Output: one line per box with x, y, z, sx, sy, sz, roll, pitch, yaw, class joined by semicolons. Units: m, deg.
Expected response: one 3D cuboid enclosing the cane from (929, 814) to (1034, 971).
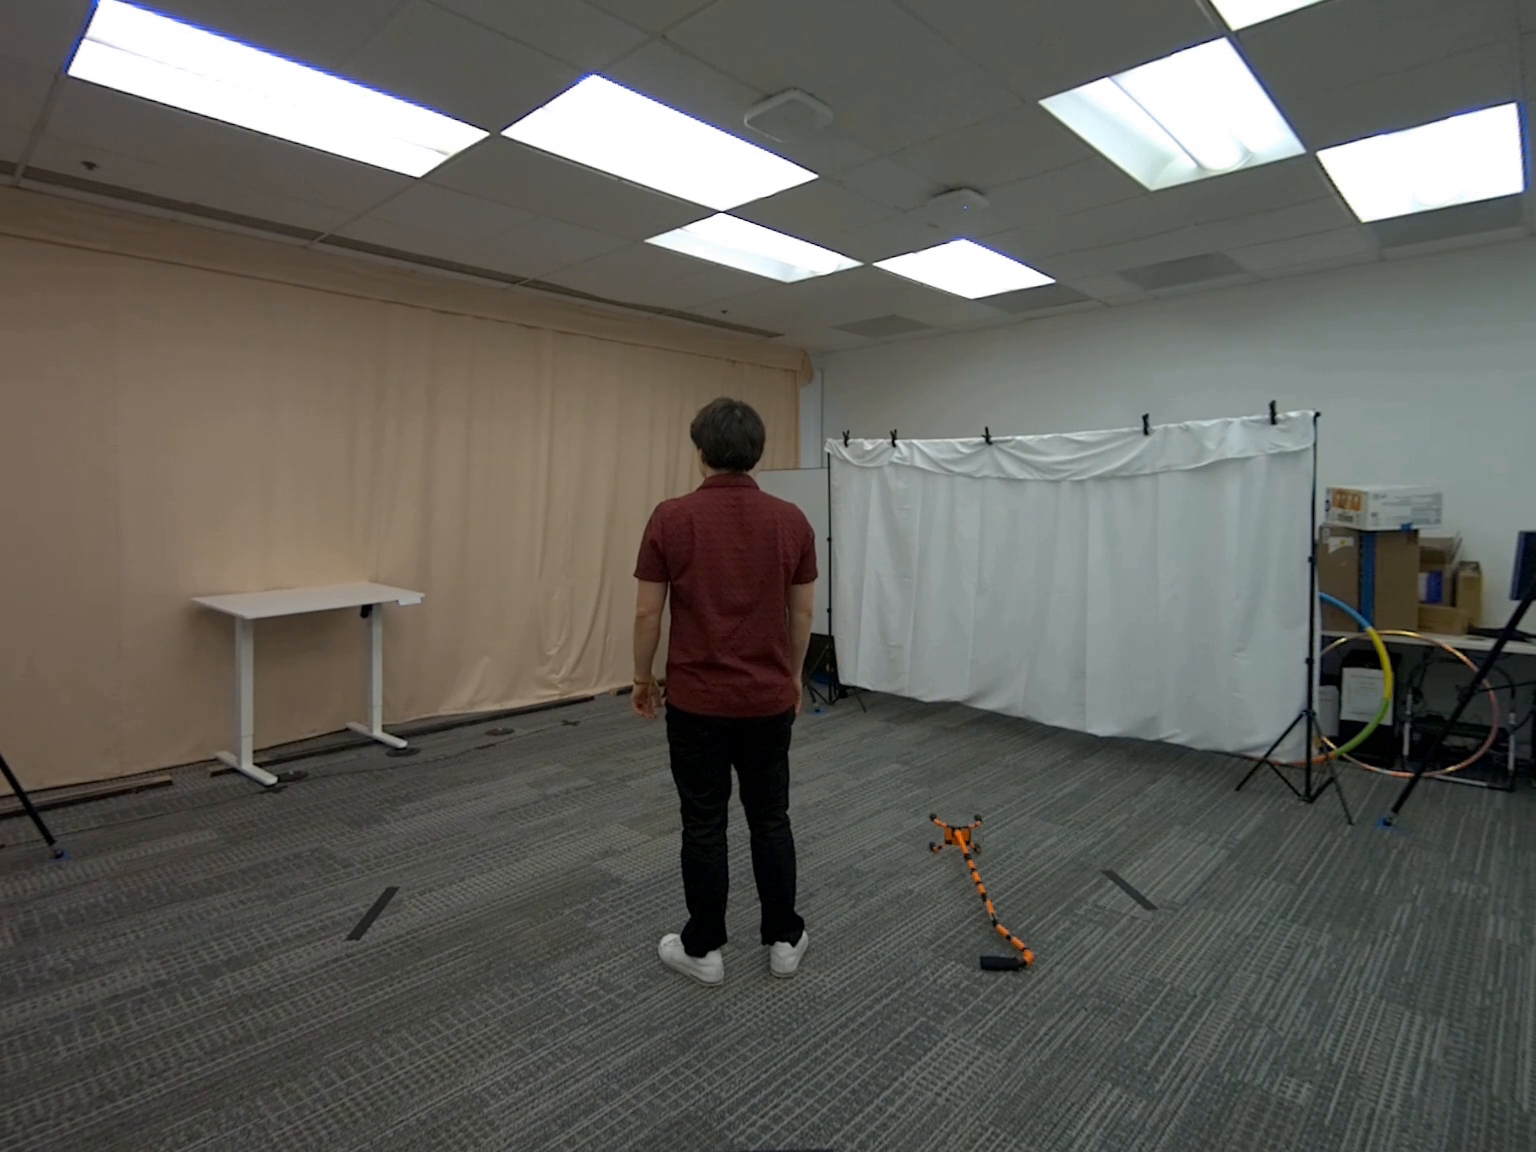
0.756;1.101;2.957;0.207;0.151;0.910;-1;9;1;cane
